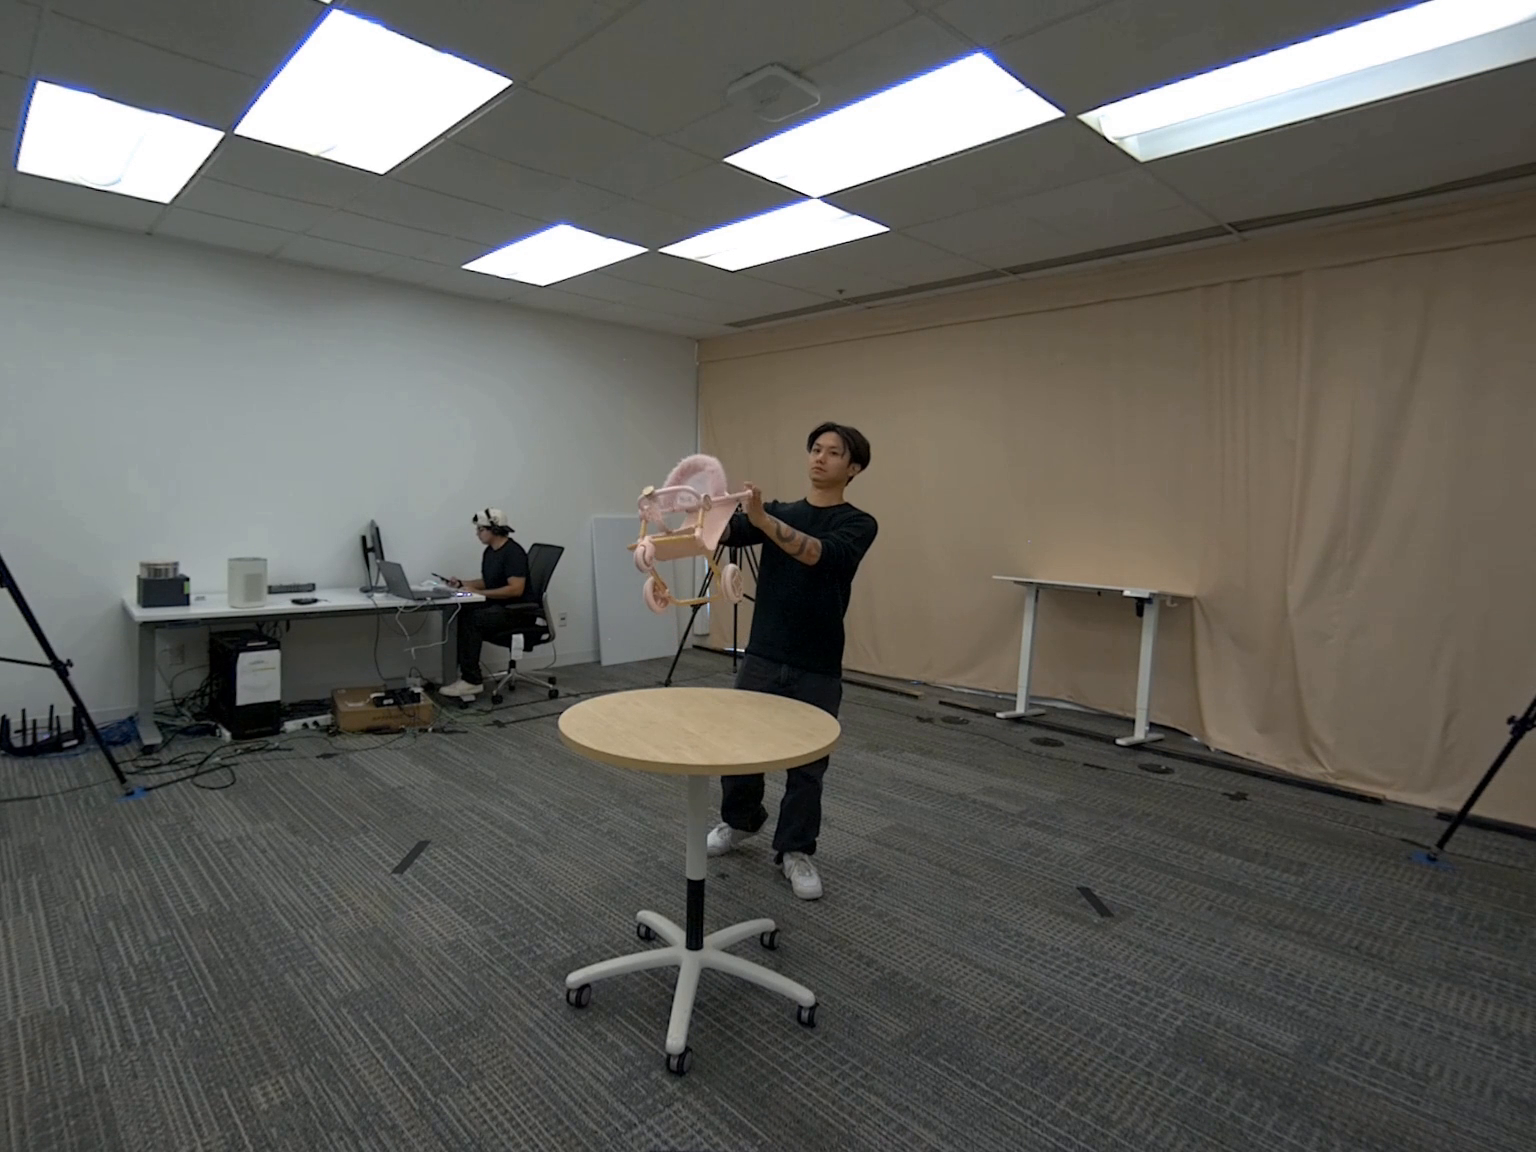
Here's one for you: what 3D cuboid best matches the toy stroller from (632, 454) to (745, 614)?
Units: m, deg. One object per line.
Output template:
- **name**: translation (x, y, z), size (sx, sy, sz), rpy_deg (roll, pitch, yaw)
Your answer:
- **toy stroller**: translation (-0.239, -0.141, 2.404), size (0.286, 0.543, 0.331), rpy_deg (-12, -43, 29)
